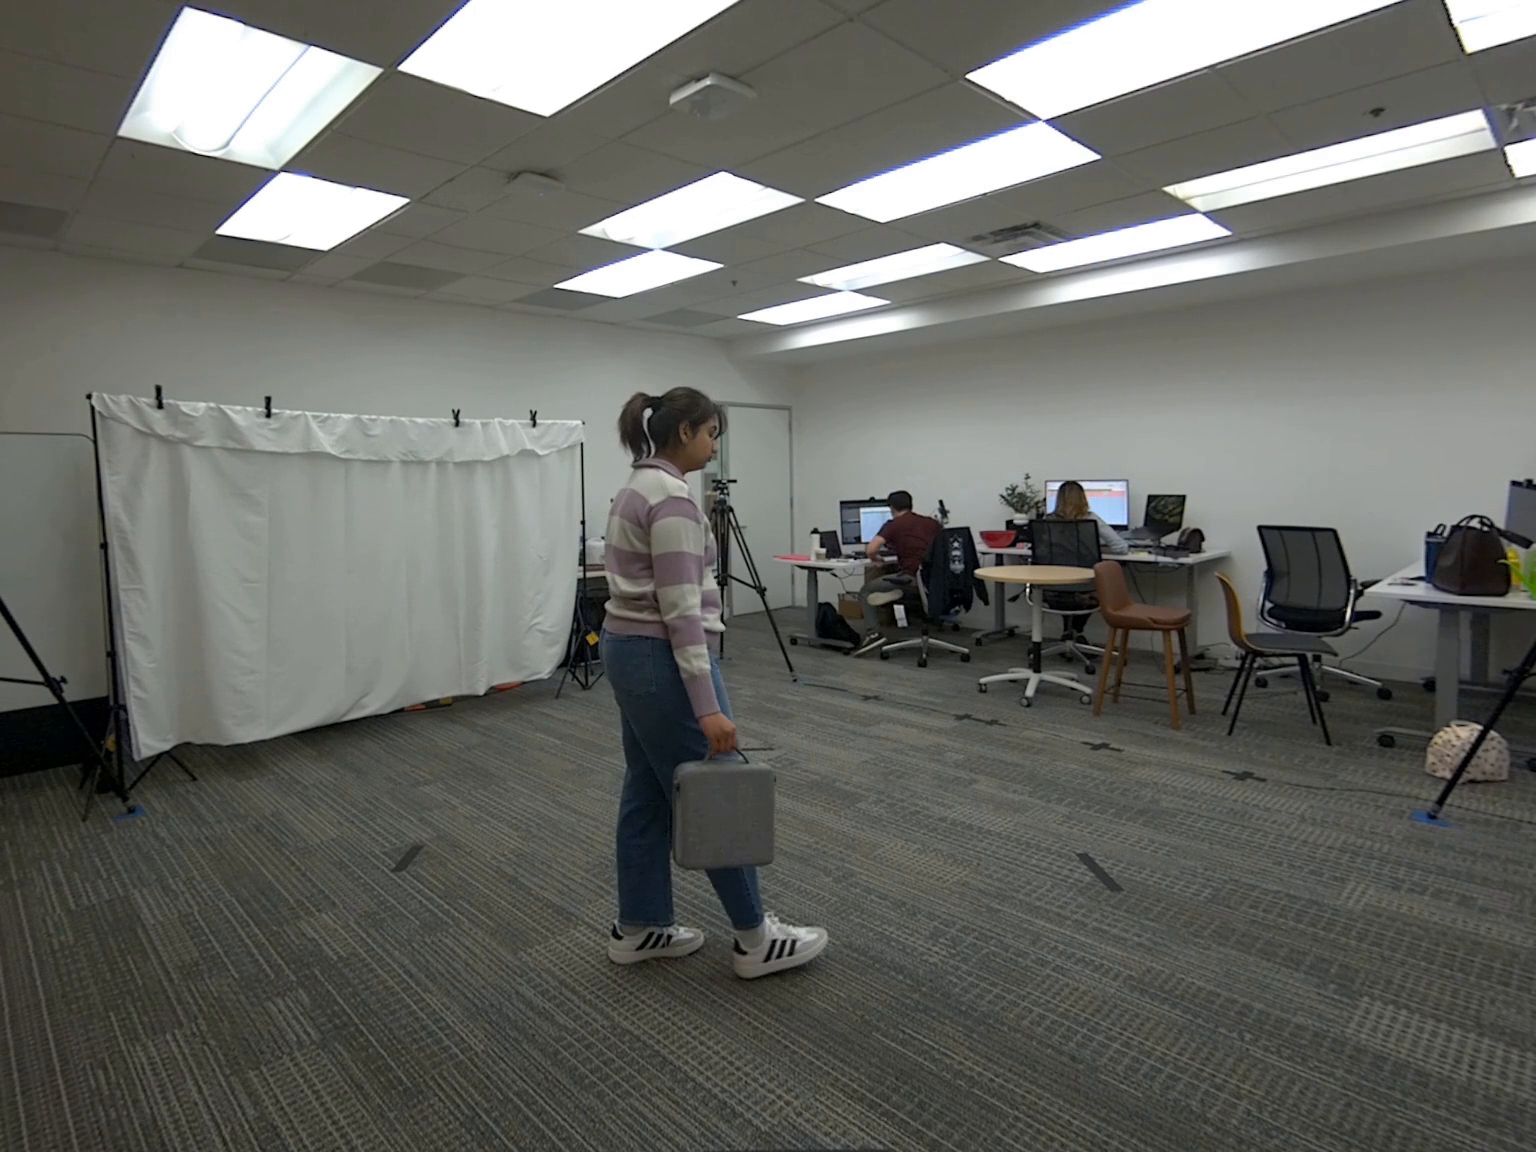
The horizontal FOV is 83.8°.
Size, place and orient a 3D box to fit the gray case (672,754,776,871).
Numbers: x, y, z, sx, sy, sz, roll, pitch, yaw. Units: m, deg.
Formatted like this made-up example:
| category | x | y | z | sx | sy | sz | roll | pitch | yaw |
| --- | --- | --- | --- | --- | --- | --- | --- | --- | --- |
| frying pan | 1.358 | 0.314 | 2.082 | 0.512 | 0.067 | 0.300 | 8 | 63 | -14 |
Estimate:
| category | x | y | z | sx | sy | sz | roll | pitch | yaw |
| --- | --- | --- | --- | --- | --- | --- | --- | --- | --- |
| gray case | -0.105 | 0.601 | 2.168 | 0.253 | 0.262 | 0.105 | 1 | -7 | -16 |
